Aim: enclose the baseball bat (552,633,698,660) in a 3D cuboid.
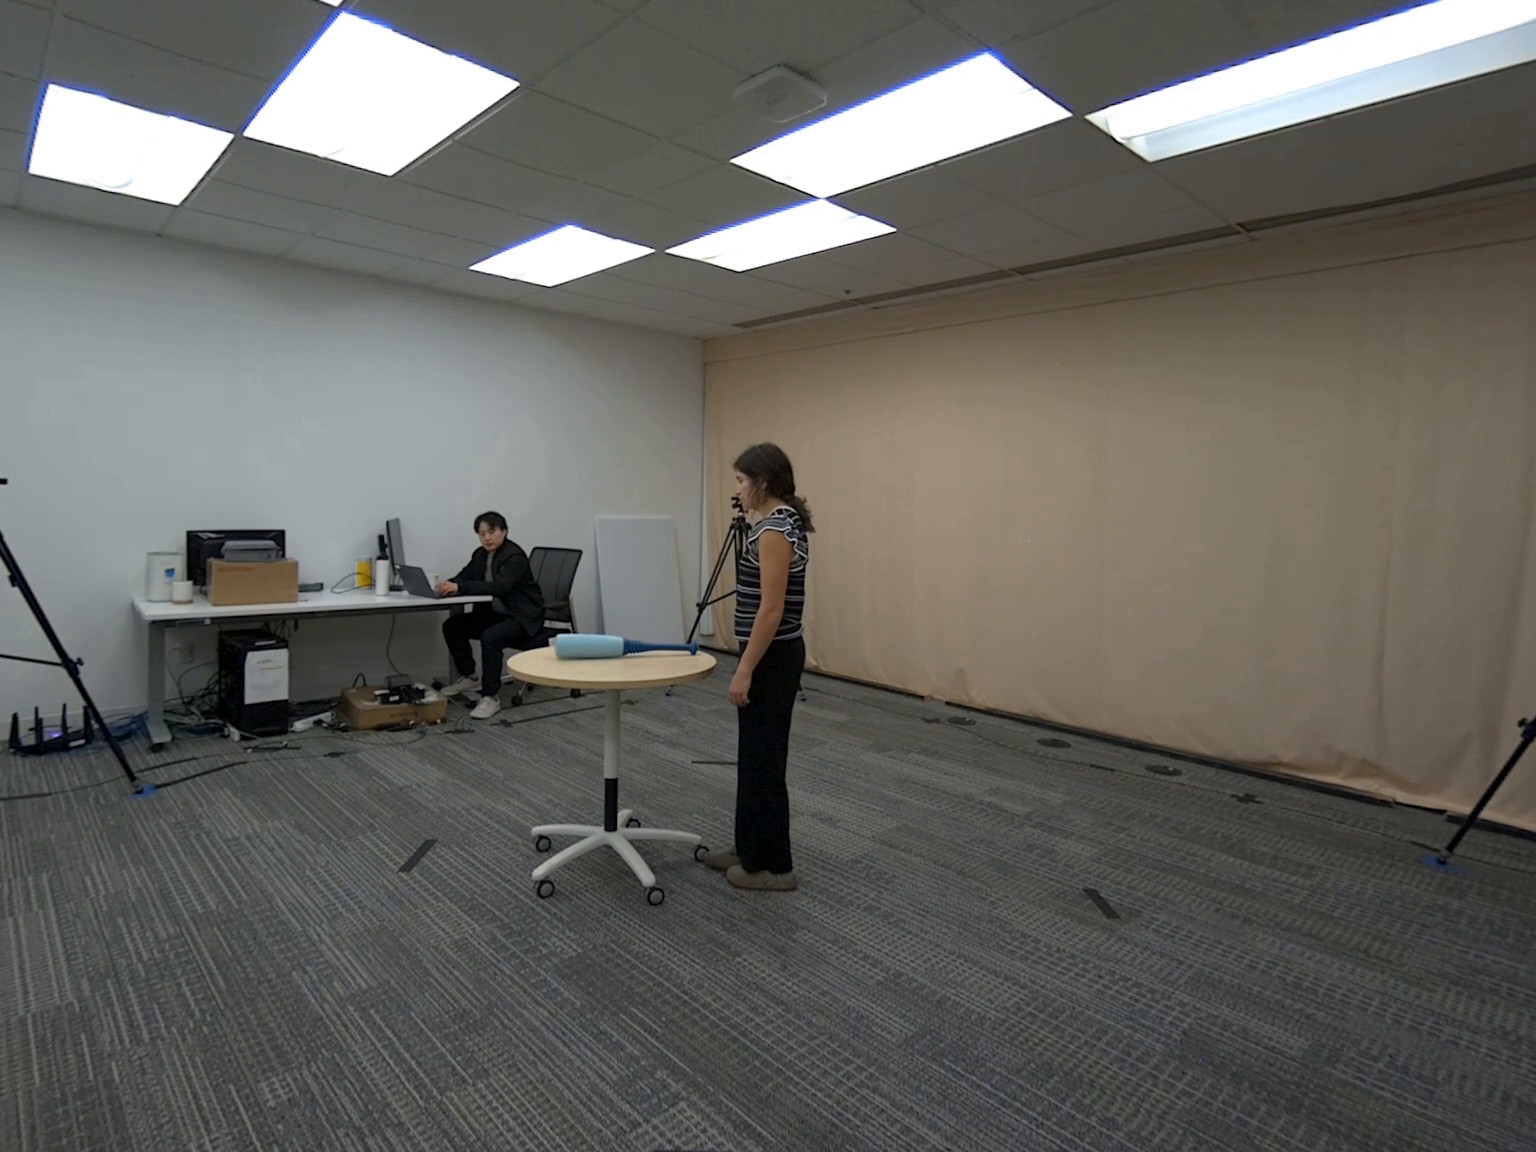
[{"bbox_3d":[-0.538,0.271,3.192,0.535,0.089,0.090,2,4,-17],"label":"baseball bat"}]
